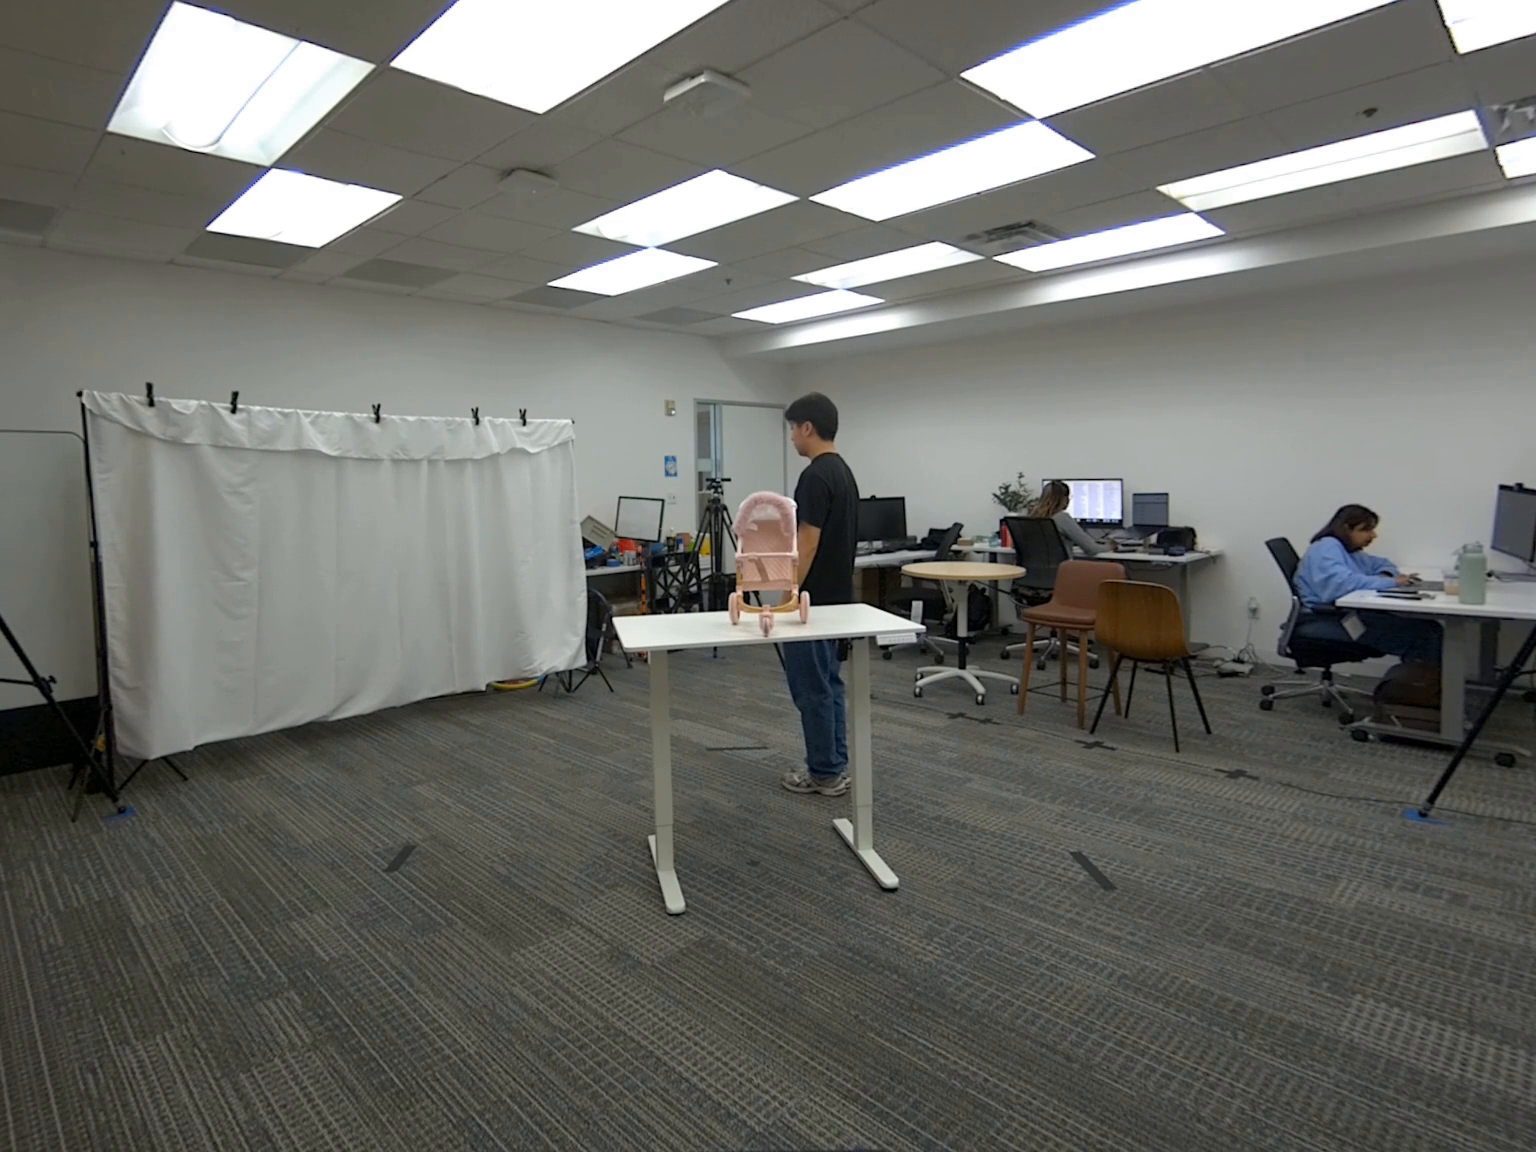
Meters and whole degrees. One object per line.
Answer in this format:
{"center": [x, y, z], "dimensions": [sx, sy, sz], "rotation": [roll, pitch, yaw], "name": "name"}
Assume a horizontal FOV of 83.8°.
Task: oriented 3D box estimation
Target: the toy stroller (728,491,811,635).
{"center": [-0.006, -0.048, 2.936], "dimensions": [0.284, 0.540, 0.335], "rotation": [-1, -11, 8], "name": "toy stroller"}
